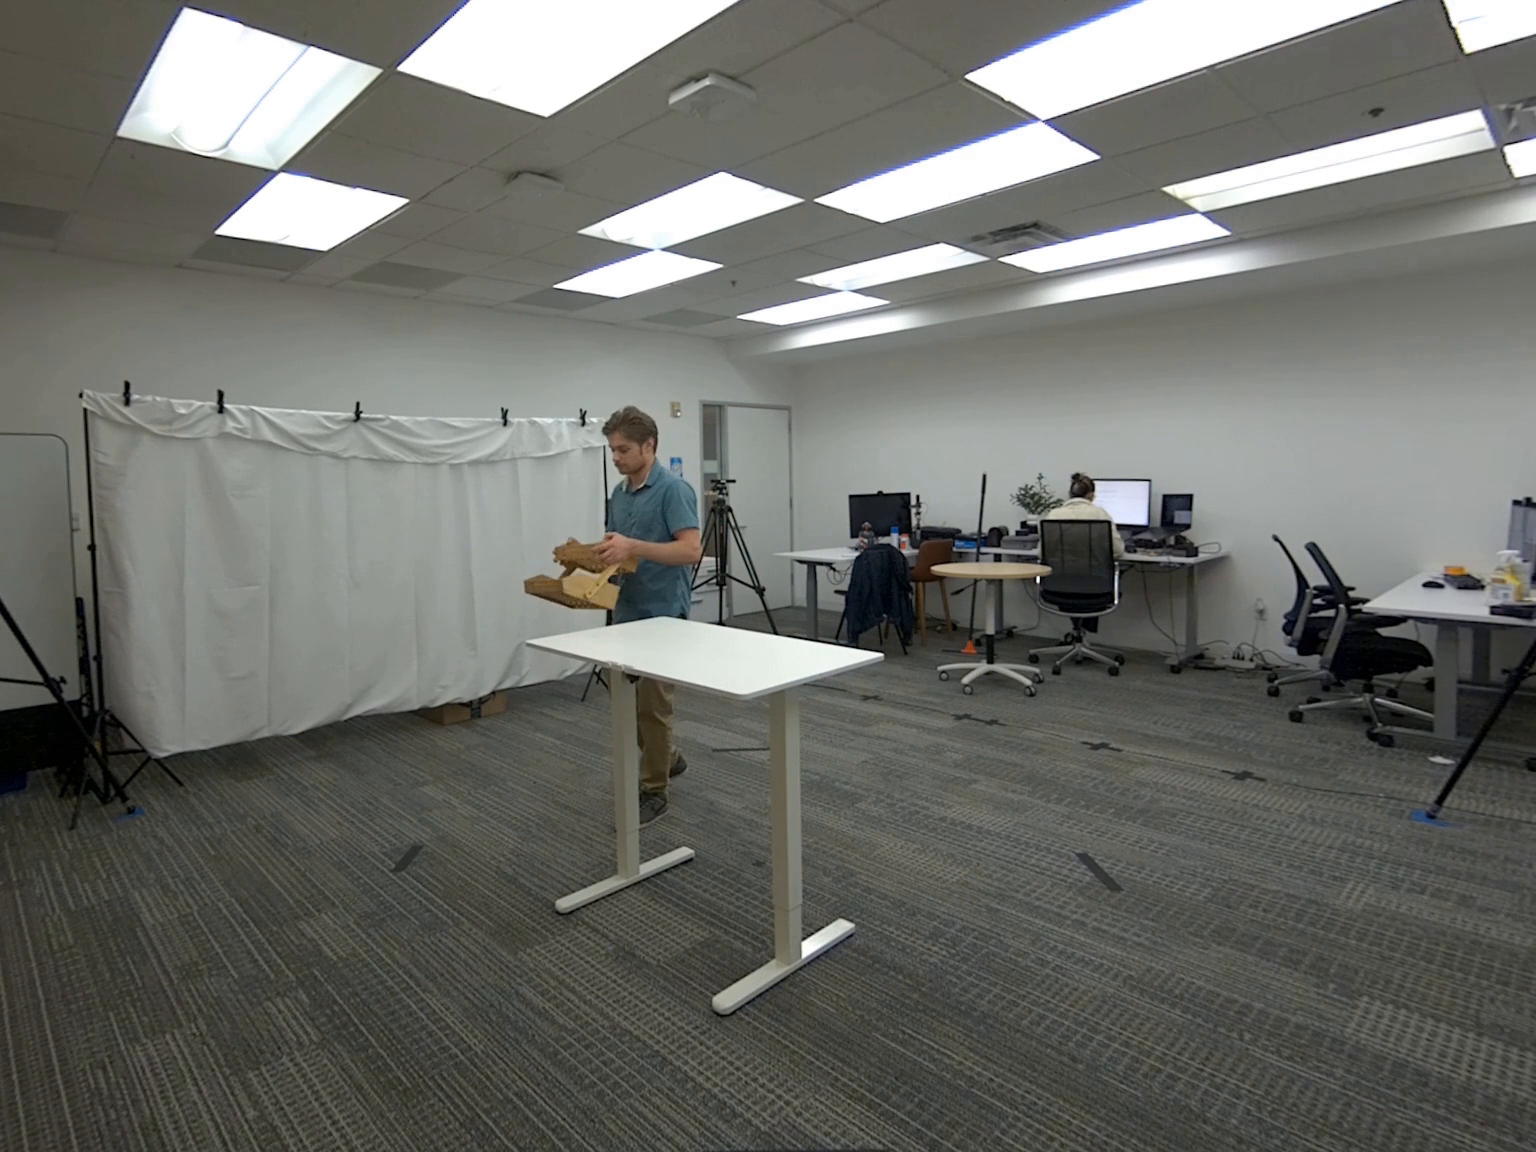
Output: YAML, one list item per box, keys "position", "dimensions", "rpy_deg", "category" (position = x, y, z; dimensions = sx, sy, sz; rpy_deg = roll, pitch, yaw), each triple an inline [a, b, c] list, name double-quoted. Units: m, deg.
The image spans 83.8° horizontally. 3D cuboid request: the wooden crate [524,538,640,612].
- position: [-0.734, -0.022, 3.363]
  dimensions: [0.291, 0.276, 0.333]
  rpy_deg: [23, -18, -39]
  category: "wooden crate"
